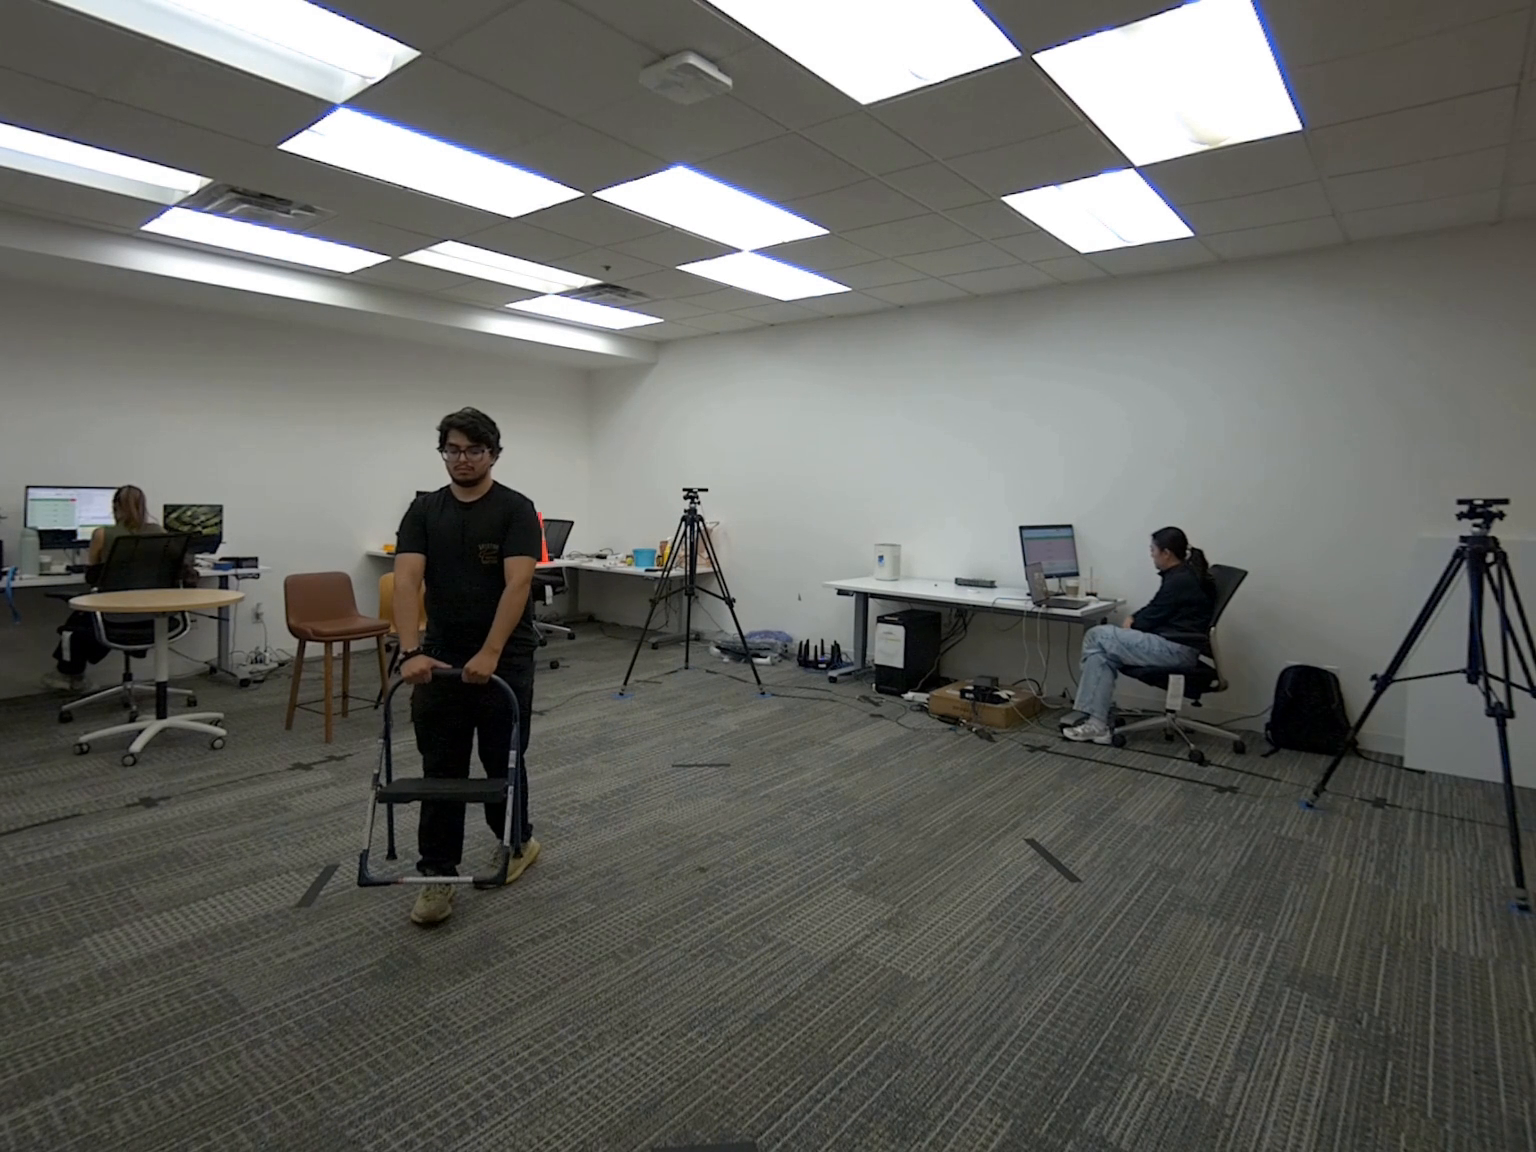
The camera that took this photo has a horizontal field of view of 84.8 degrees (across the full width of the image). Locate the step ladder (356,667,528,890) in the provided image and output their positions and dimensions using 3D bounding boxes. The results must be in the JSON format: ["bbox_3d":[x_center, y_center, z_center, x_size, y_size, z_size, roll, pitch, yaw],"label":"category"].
[{"bbox_3d":[-0.993,0.595,2.608,0.428,0.610,0.349,0,-6,-7],"label":"step ladder"}]
